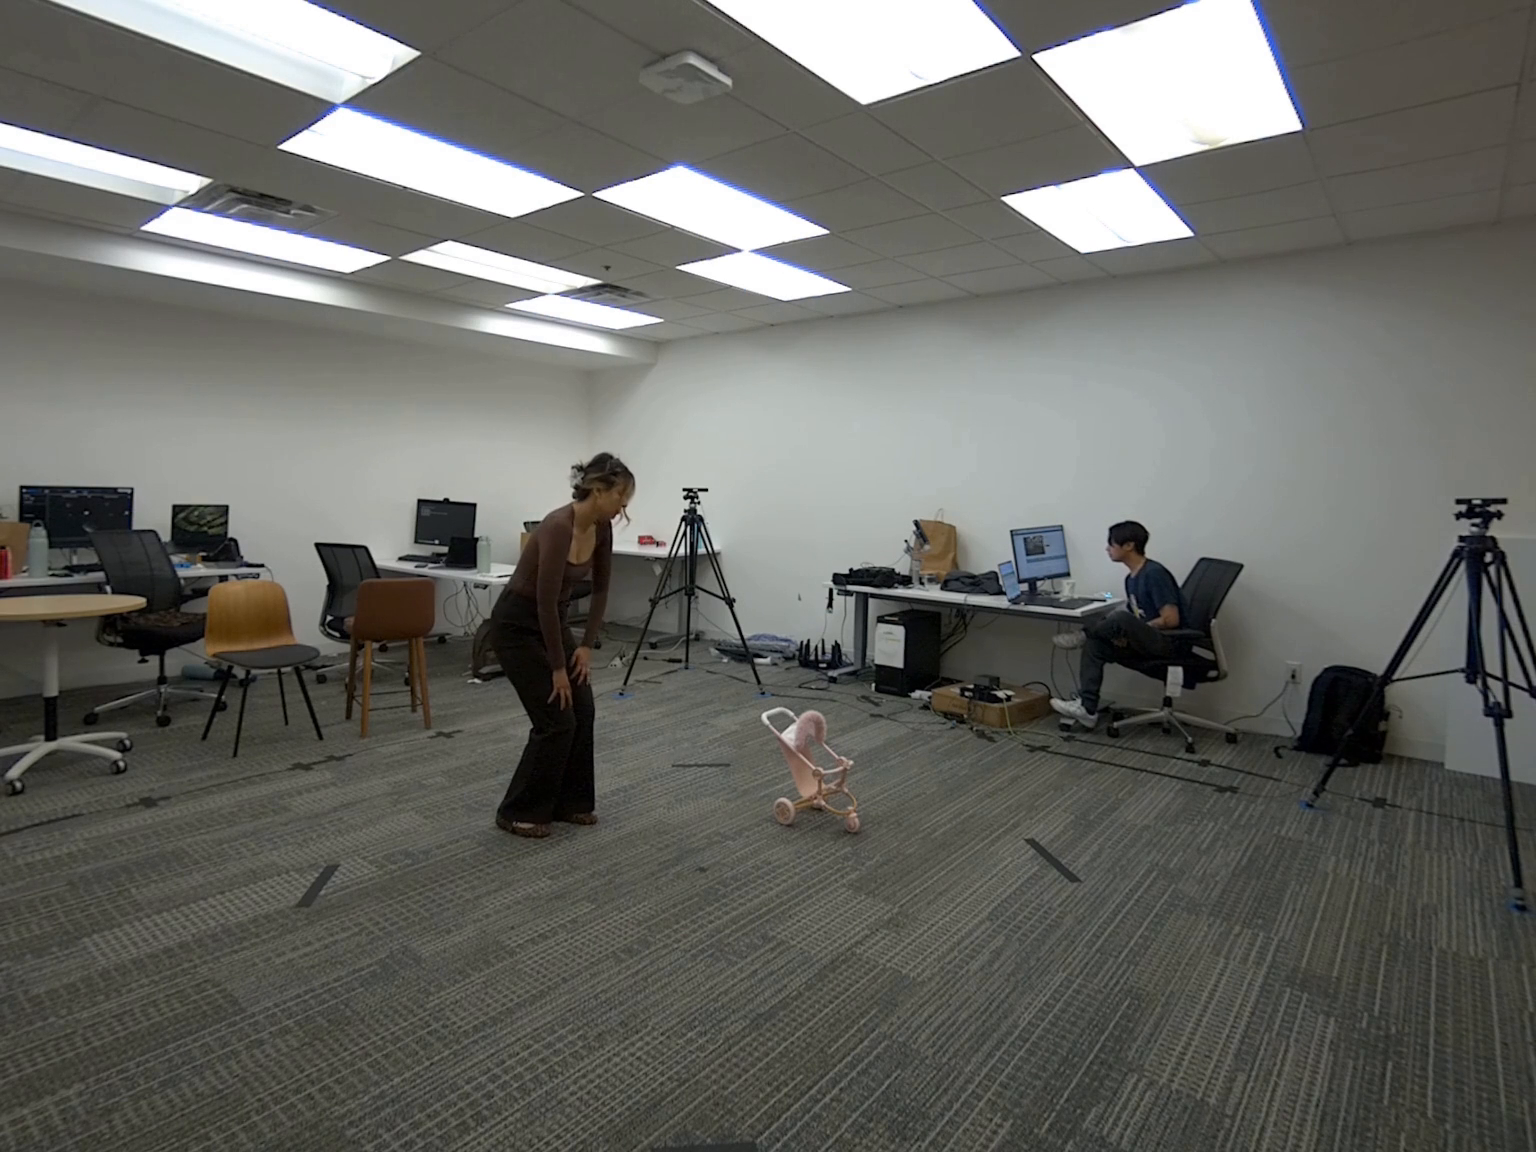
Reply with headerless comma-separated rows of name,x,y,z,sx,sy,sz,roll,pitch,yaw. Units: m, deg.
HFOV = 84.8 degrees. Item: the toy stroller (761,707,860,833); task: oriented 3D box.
toy stroller,0.187,0.808,3.588,0.348,0.540,0.273,-18,-9,41
